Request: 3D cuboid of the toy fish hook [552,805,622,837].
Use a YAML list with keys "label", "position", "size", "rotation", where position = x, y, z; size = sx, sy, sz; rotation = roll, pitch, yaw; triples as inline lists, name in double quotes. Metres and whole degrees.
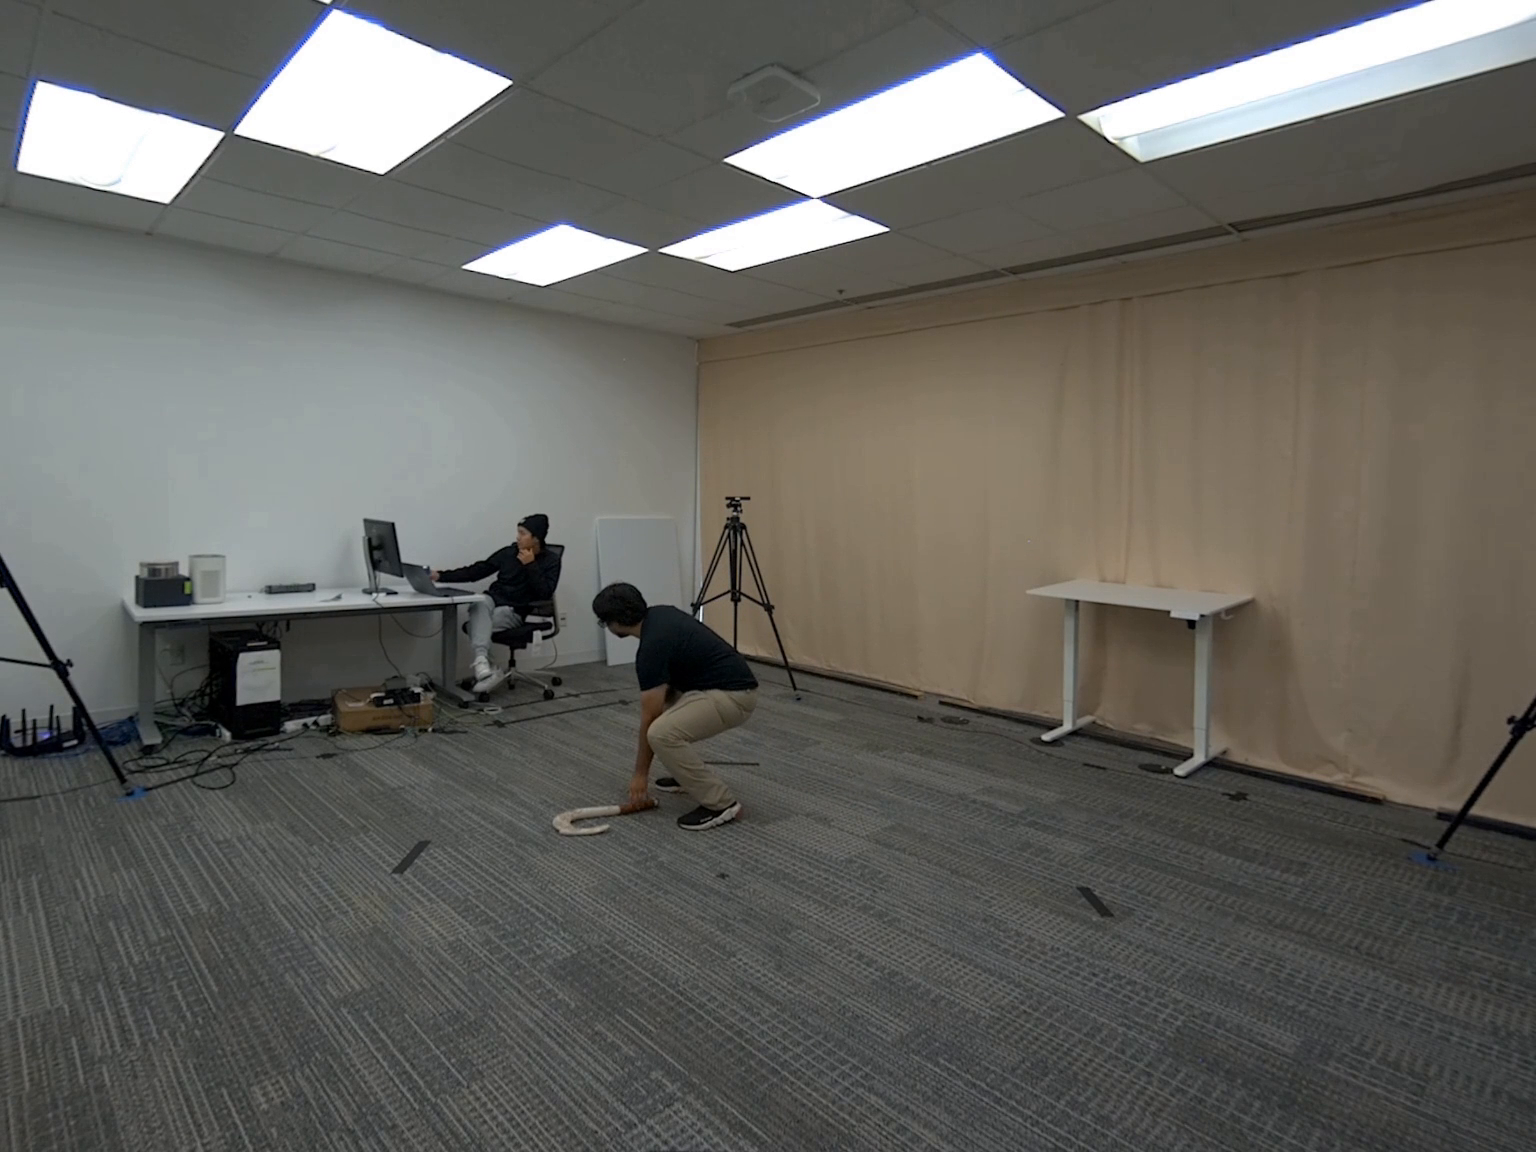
- label: "toy fish hook"
  position: [-0.678, 1.034, 3.611]
  size: [0.496, 0.048, 0.231]
  rotation: [-3, 14, -34]
